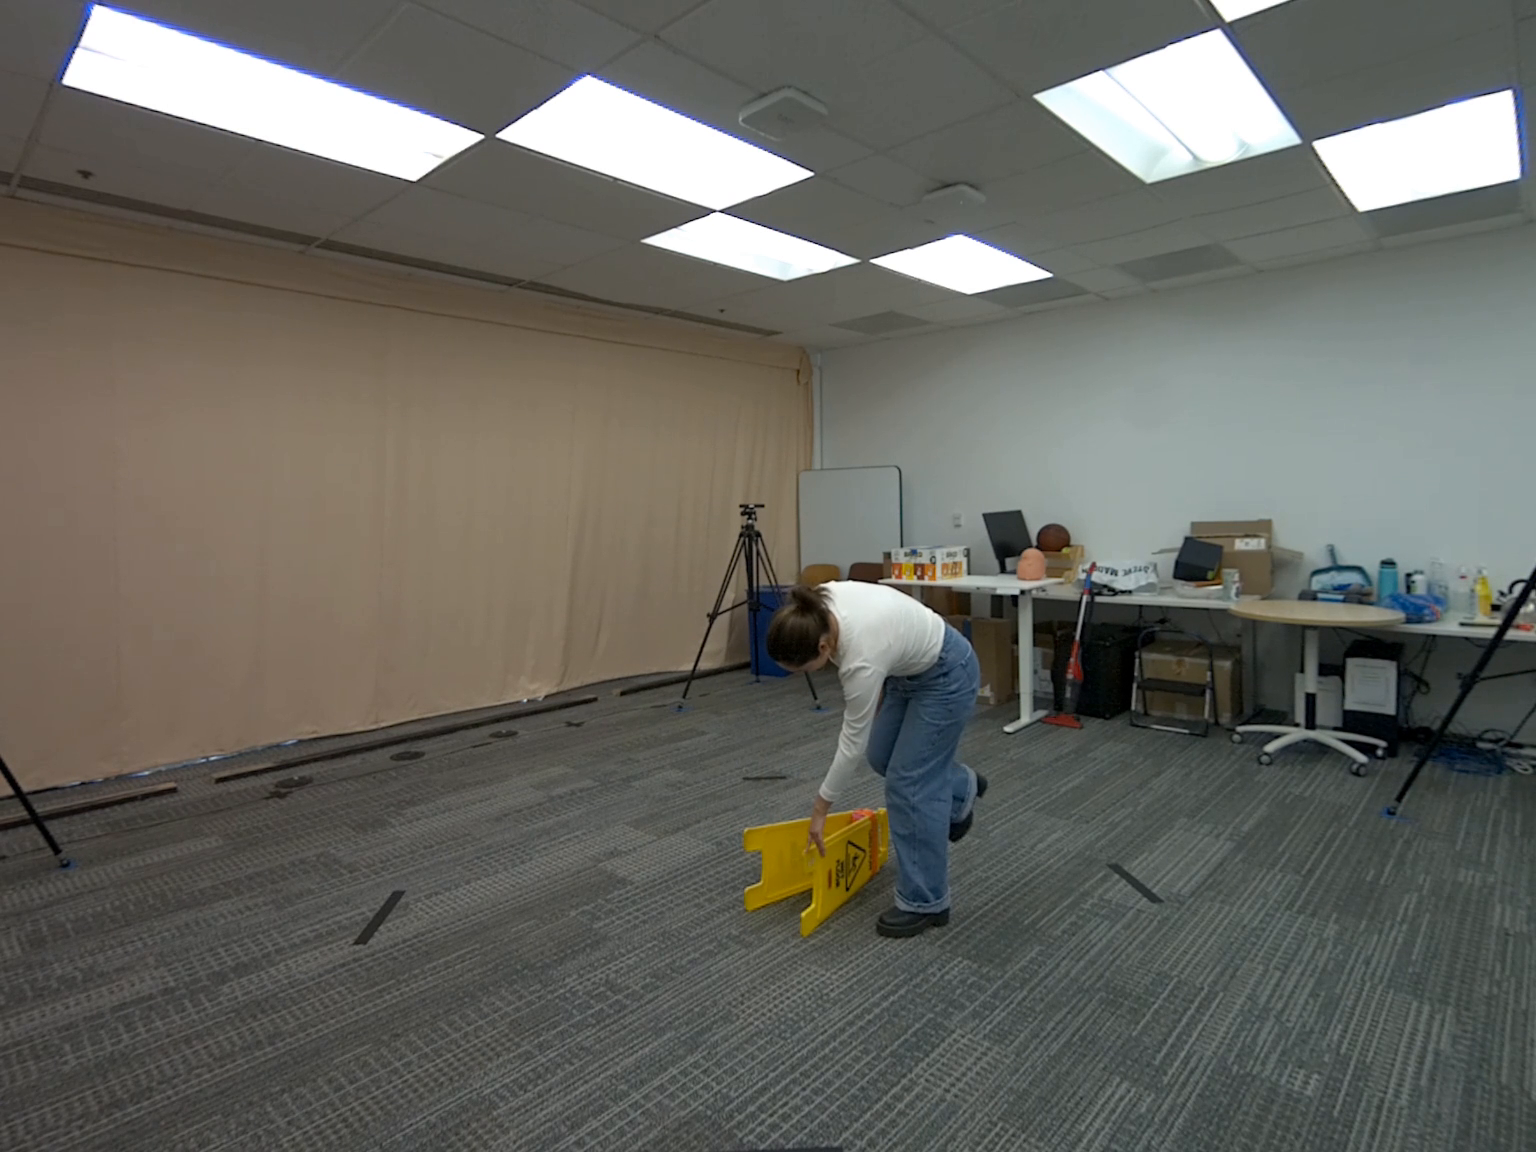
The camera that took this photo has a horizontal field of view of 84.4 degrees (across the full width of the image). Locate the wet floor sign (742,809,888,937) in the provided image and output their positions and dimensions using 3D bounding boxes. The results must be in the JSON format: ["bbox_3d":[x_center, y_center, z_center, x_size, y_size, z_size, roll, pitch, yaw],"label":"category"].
[{"bbox_3d":[0.236,1.005,3.017,0.626,0.282,0.299,-3,5,-45],"label":"wet floor sign"}]
